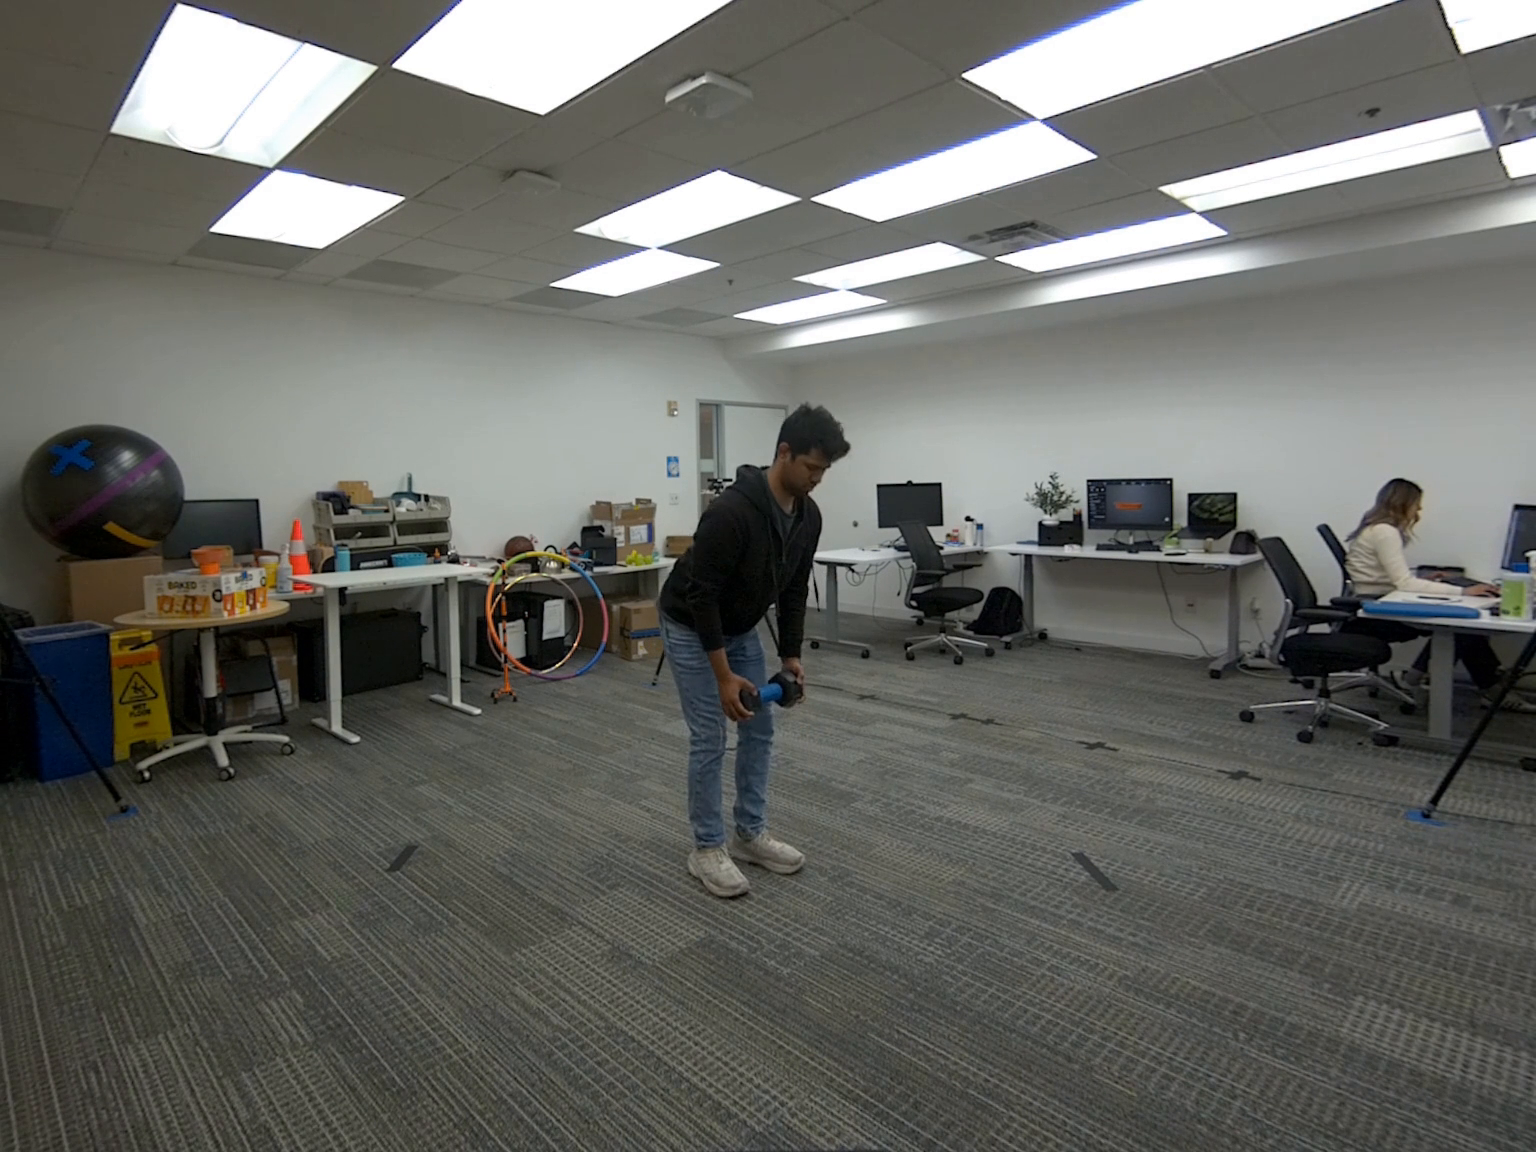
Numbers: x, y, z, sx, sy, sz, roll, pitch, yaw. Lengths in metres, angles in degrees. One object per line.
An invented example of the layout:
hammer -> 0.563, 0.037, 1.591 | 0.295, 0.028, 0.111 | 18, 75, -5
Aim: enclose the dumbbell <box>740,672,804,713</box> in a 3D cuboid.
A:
dumbbell -> -0.018, 0.411, 2.924 | 0.286, 0.111, 0.123 | -8, -25, -45
